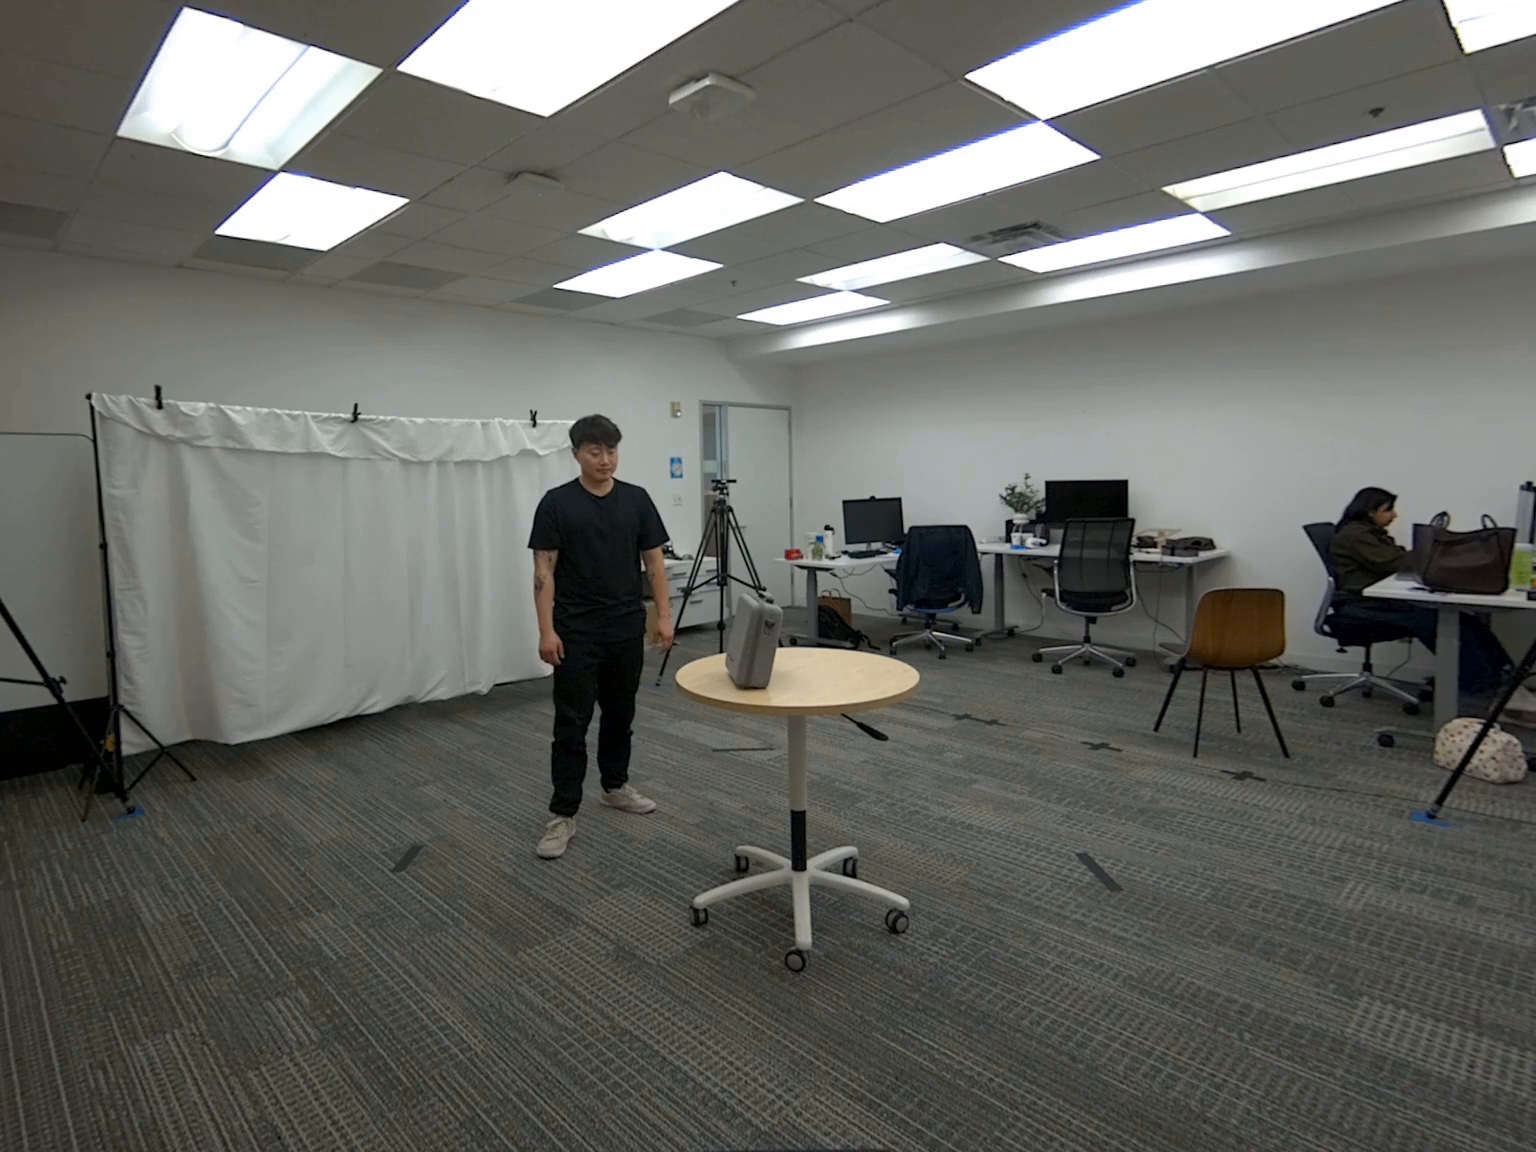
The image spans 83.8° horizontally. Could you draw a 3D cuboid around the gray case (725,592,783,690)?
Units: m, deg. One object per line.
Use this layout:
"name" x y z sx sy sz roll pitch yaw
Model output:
"gray case" -0.043 0.191 2.621 0.103 0.260 0.260 8 5 -9
